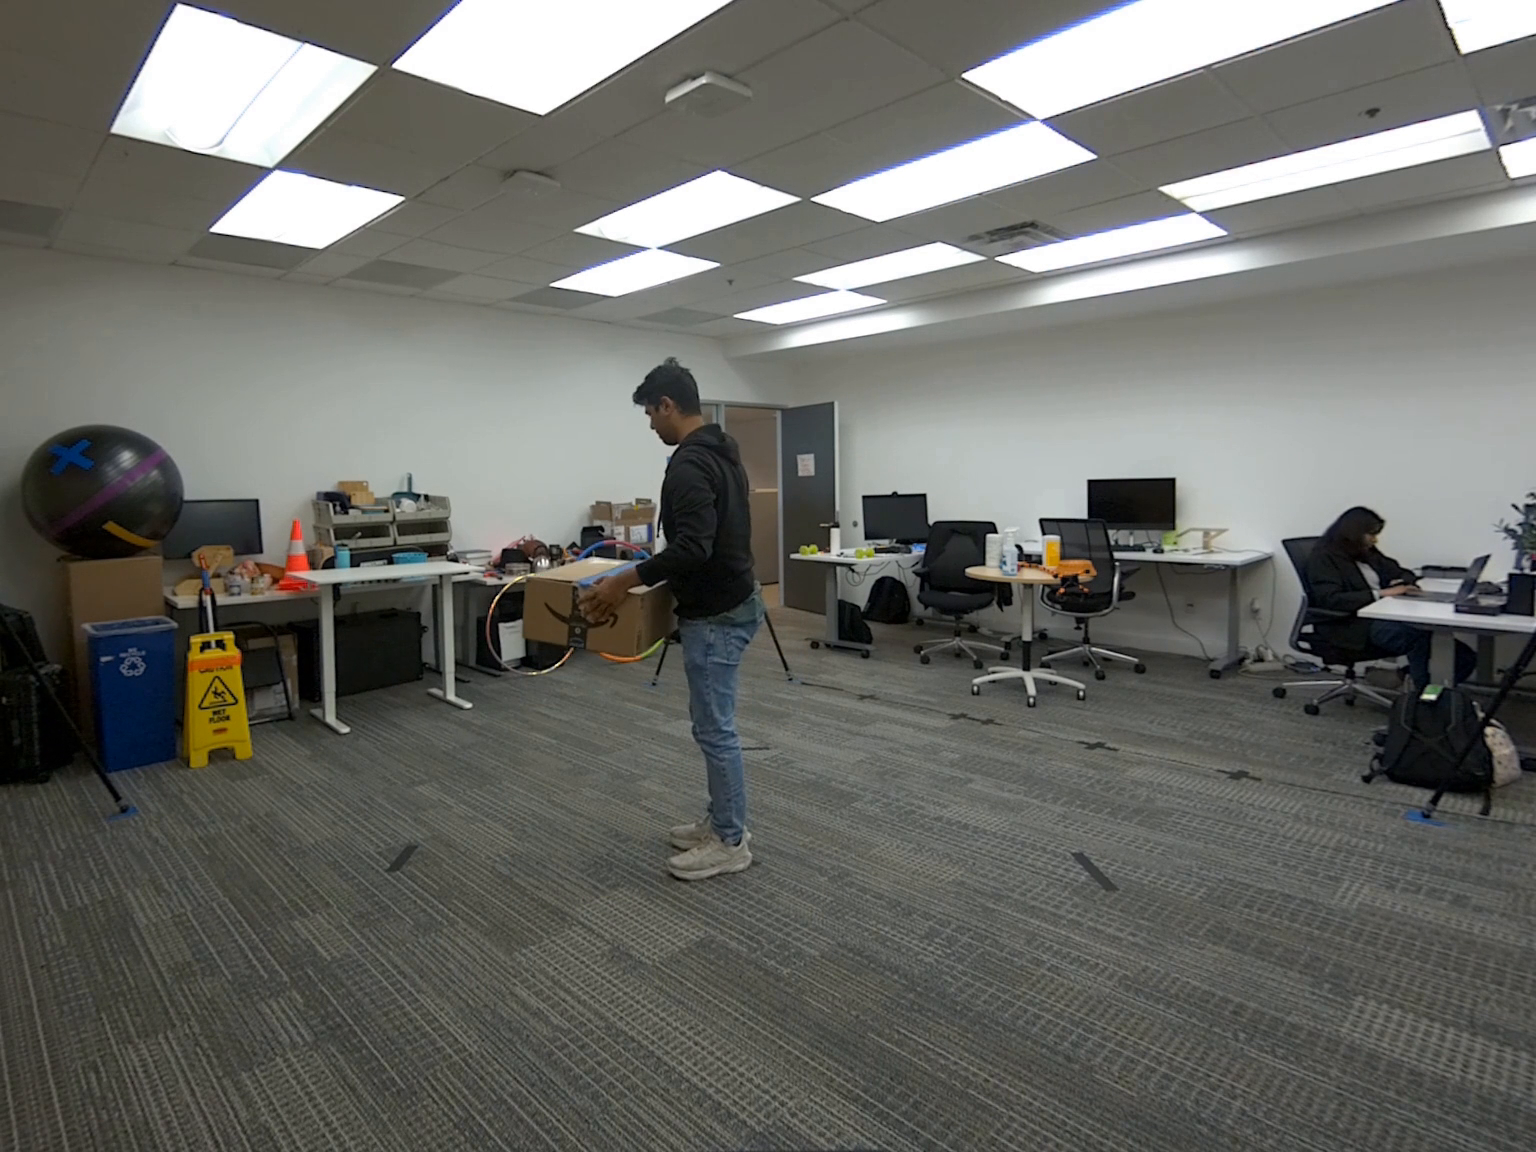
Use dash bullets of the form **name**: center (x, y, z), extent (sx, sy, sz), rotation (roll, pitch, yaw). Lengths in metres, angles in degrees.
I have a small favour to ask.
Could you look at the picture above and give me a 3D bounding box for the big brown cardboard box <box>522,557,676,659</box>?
- **big brown cardboard box**: center (-0.569, 0.092, 3.115), extent (0.423, 0.231, 0.586), rotation (5, 10, 11)
